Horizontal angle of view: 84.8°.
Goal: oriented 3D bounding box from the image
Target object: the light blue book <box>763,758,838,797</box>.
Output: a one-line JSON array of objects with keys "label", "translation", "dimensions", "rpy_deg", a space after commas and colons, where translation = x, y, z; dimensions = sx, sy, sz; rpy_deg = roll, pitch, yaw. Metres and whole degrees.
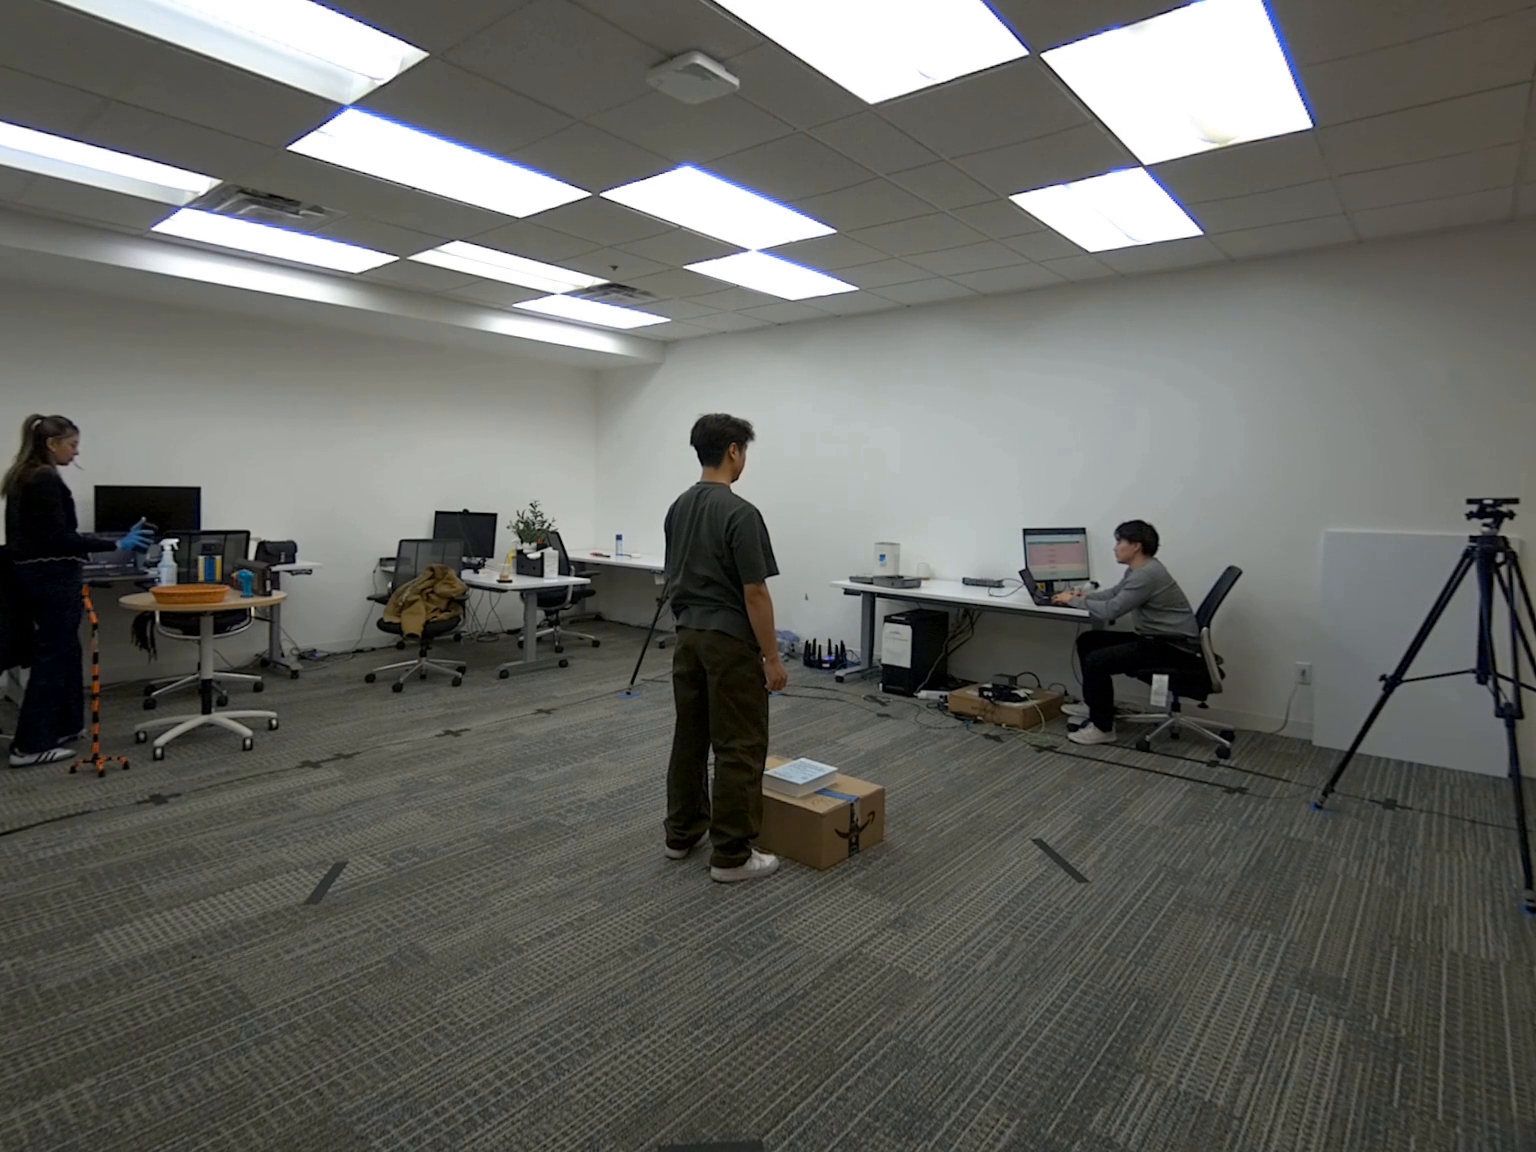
[{"label": "light blue book", "translation": [0.122, 0.804, 3.421], "dimensions": [0.198, 0.059, 0.253], "rpy_deg": [7, 8, 40]}]
